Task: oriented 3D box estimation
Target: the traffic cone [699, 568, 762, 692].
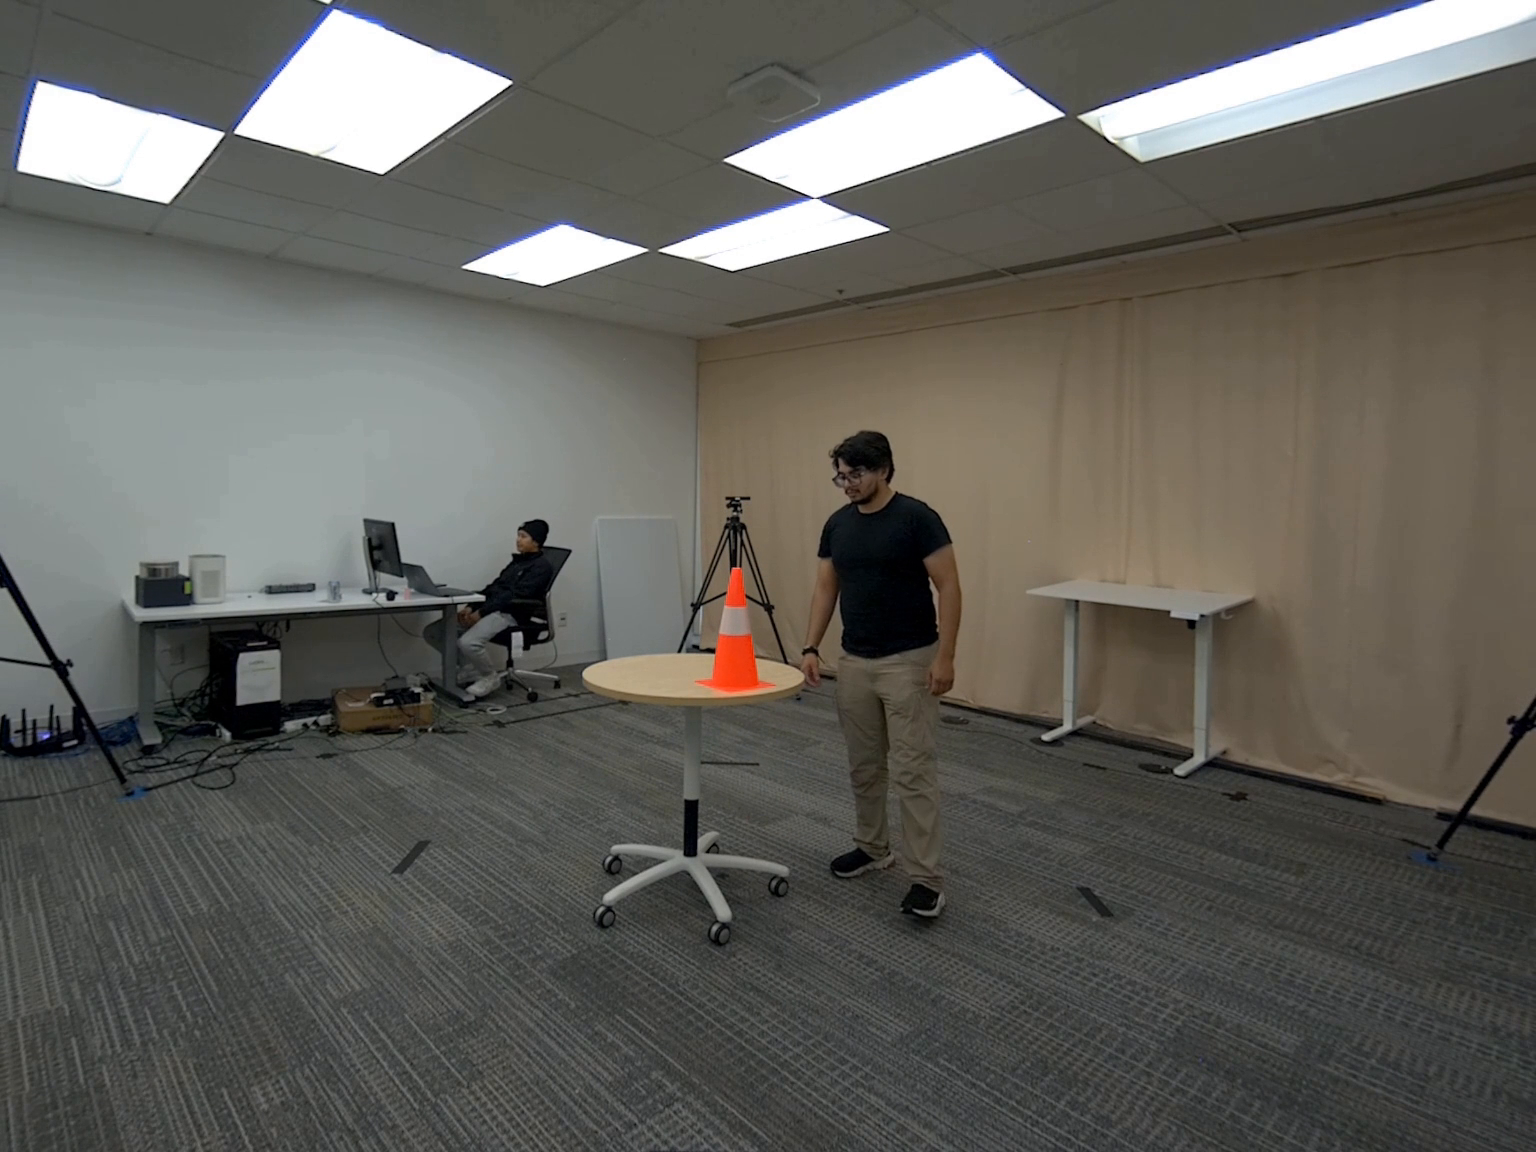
[{"bbox_3d":[-0.106,0.168,2.738,0.208,0.383,0.200,3,3,34],"label":"traffic cone"}]
